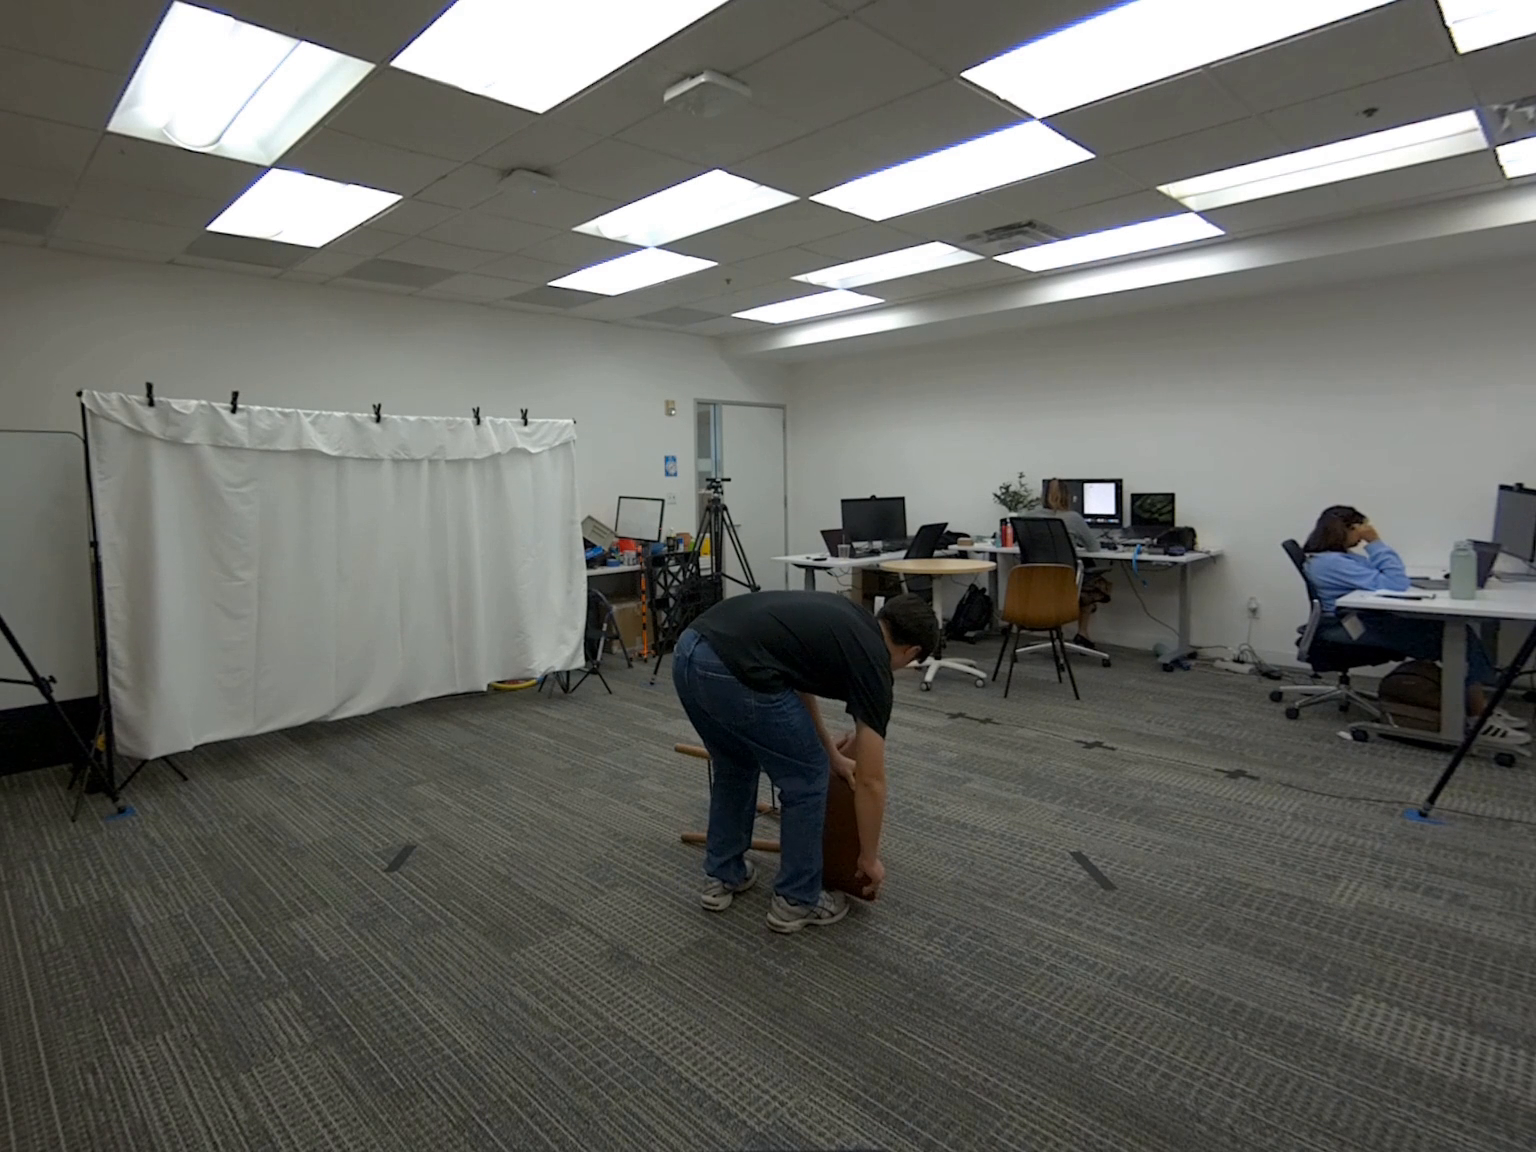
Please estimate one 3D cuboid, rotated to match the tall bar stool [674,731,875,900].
[{"bbox_3d":[0.134,0.815,3.156,0.916,0.455,0.455,1,5,42],"label":"tall bar stool"}]
